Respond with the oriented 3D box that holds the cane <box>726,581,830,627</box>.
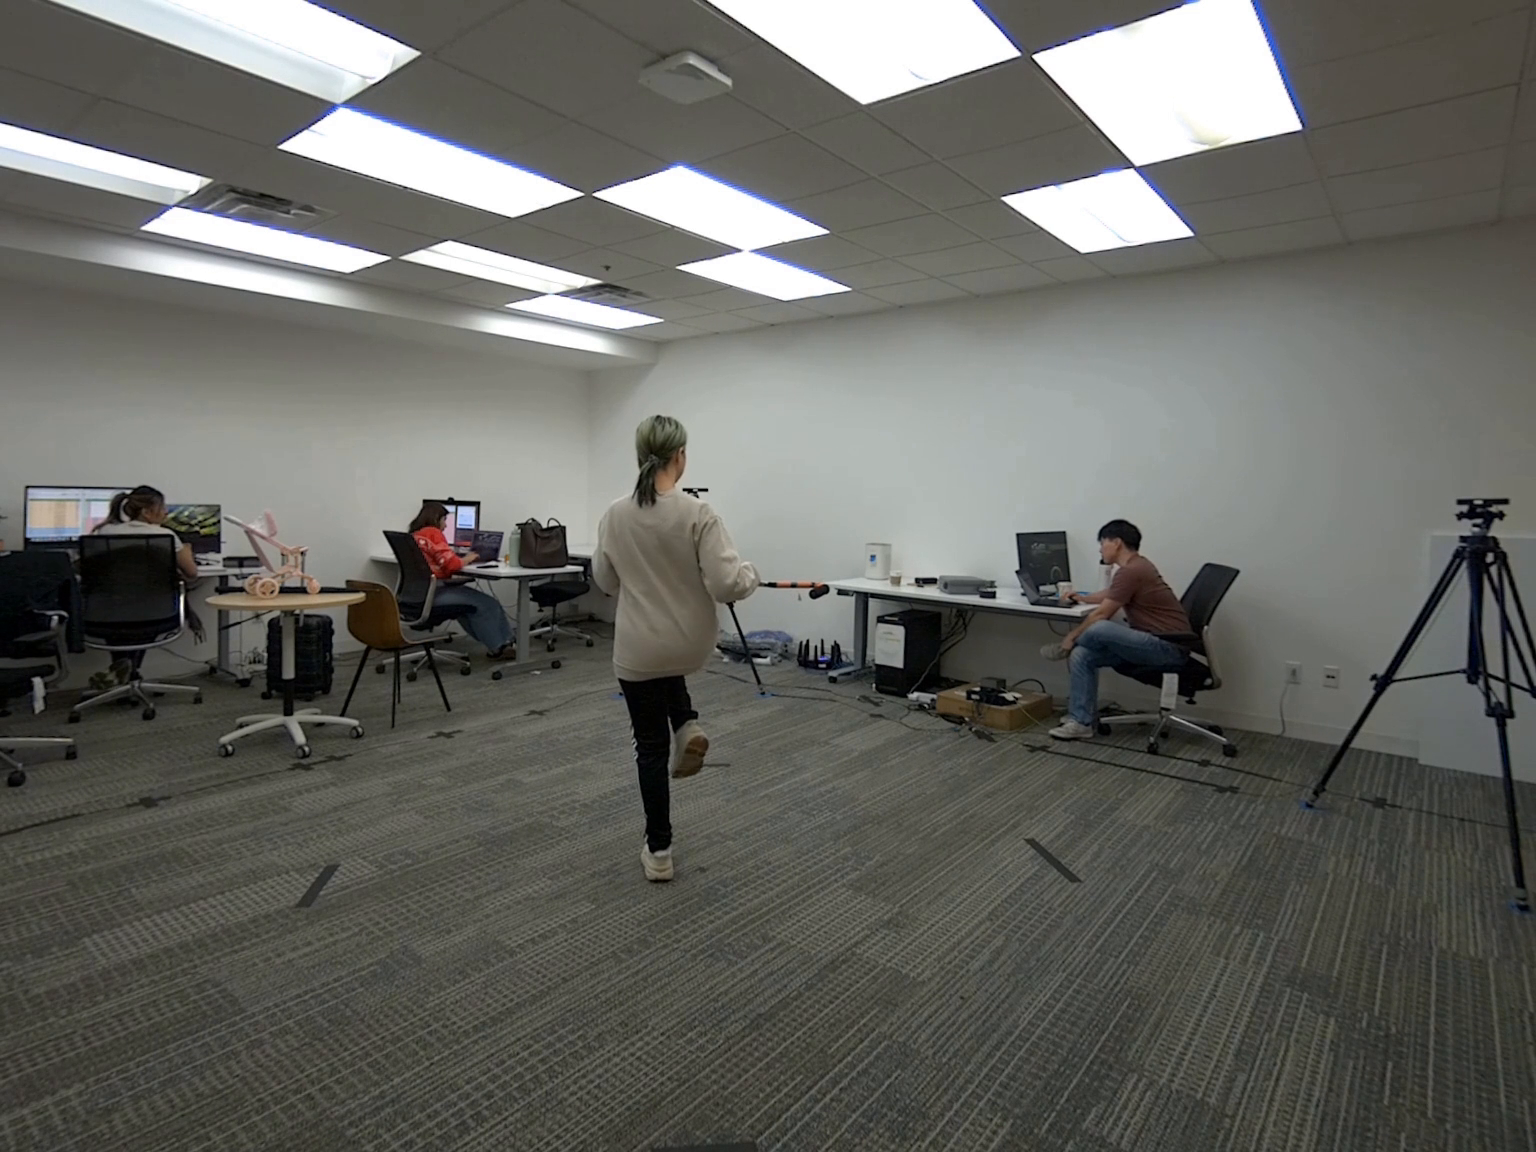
[{"bbox_3d":[-0.190,0.024,3.248,0.934,0.150,0.202,5,9,29],"label":"cane"}]
